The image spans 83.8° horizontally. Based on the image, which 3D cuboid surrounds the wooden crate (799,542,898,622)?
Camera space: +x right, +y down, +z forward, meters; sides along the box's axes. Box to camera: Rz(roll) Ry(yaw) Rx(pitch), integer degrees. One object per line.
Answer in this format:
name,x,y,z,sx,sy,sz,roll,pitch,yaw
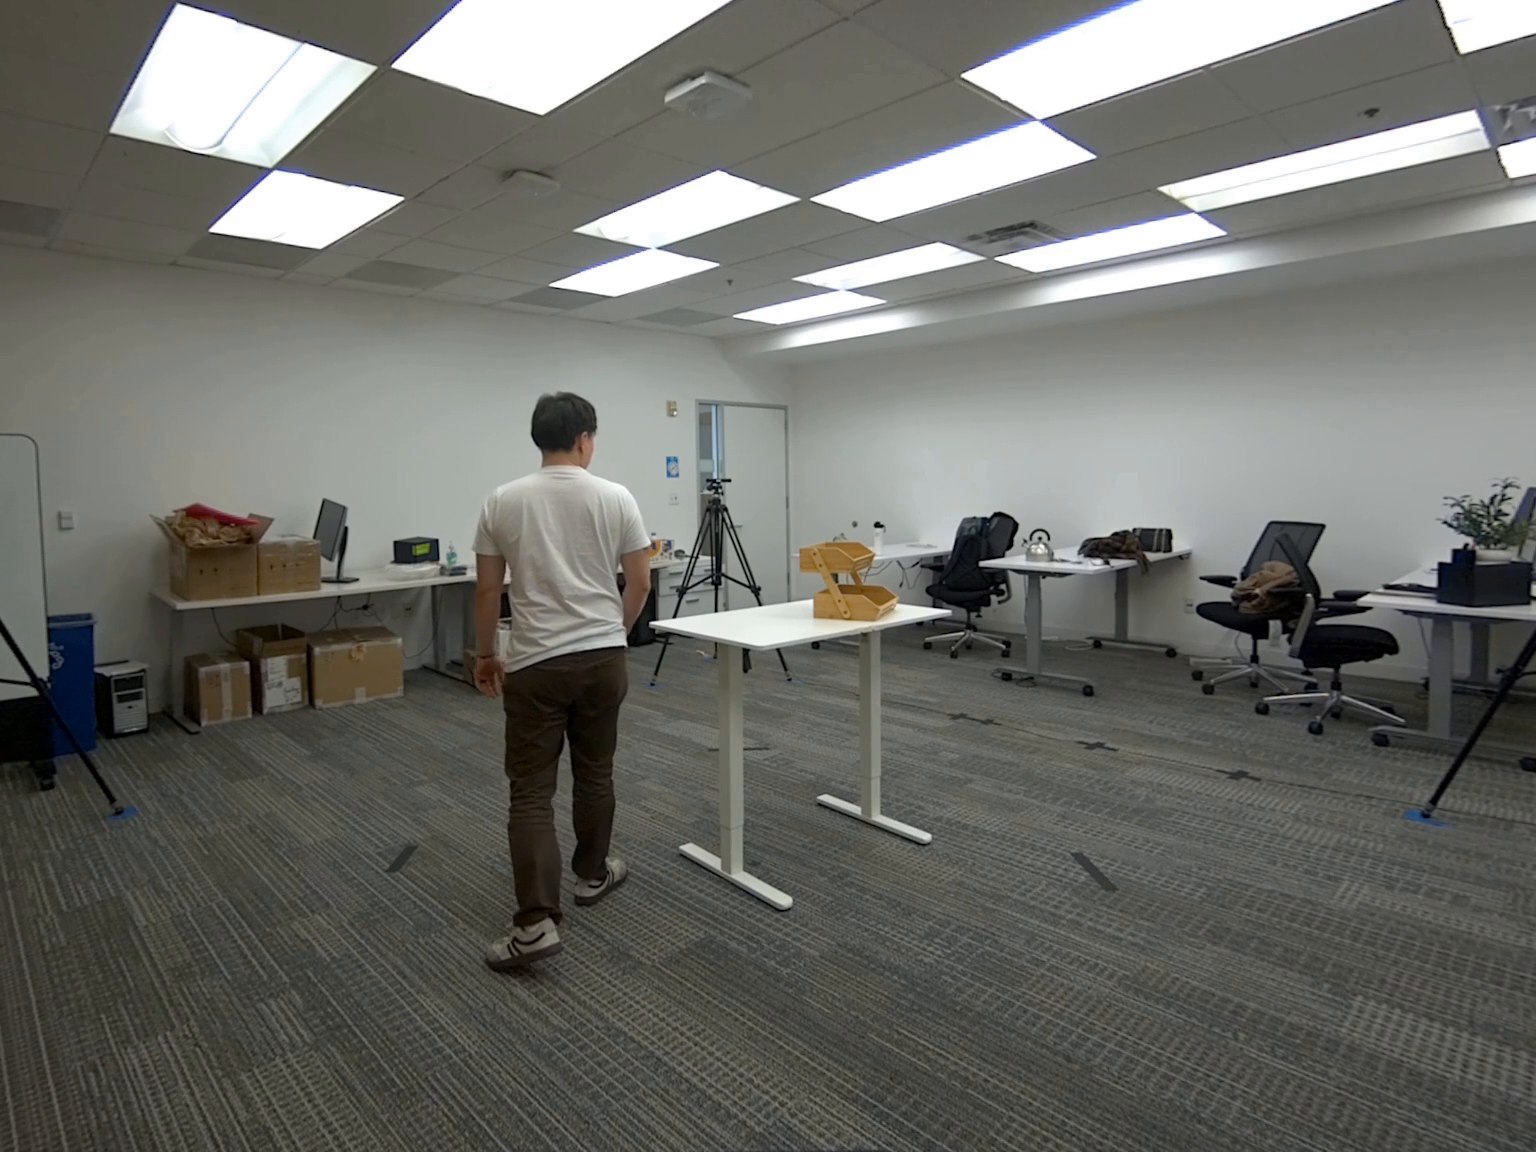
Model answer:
wooden crate,0.317,0.009,3.232,0.308,0.272,0.319,0,5,22
